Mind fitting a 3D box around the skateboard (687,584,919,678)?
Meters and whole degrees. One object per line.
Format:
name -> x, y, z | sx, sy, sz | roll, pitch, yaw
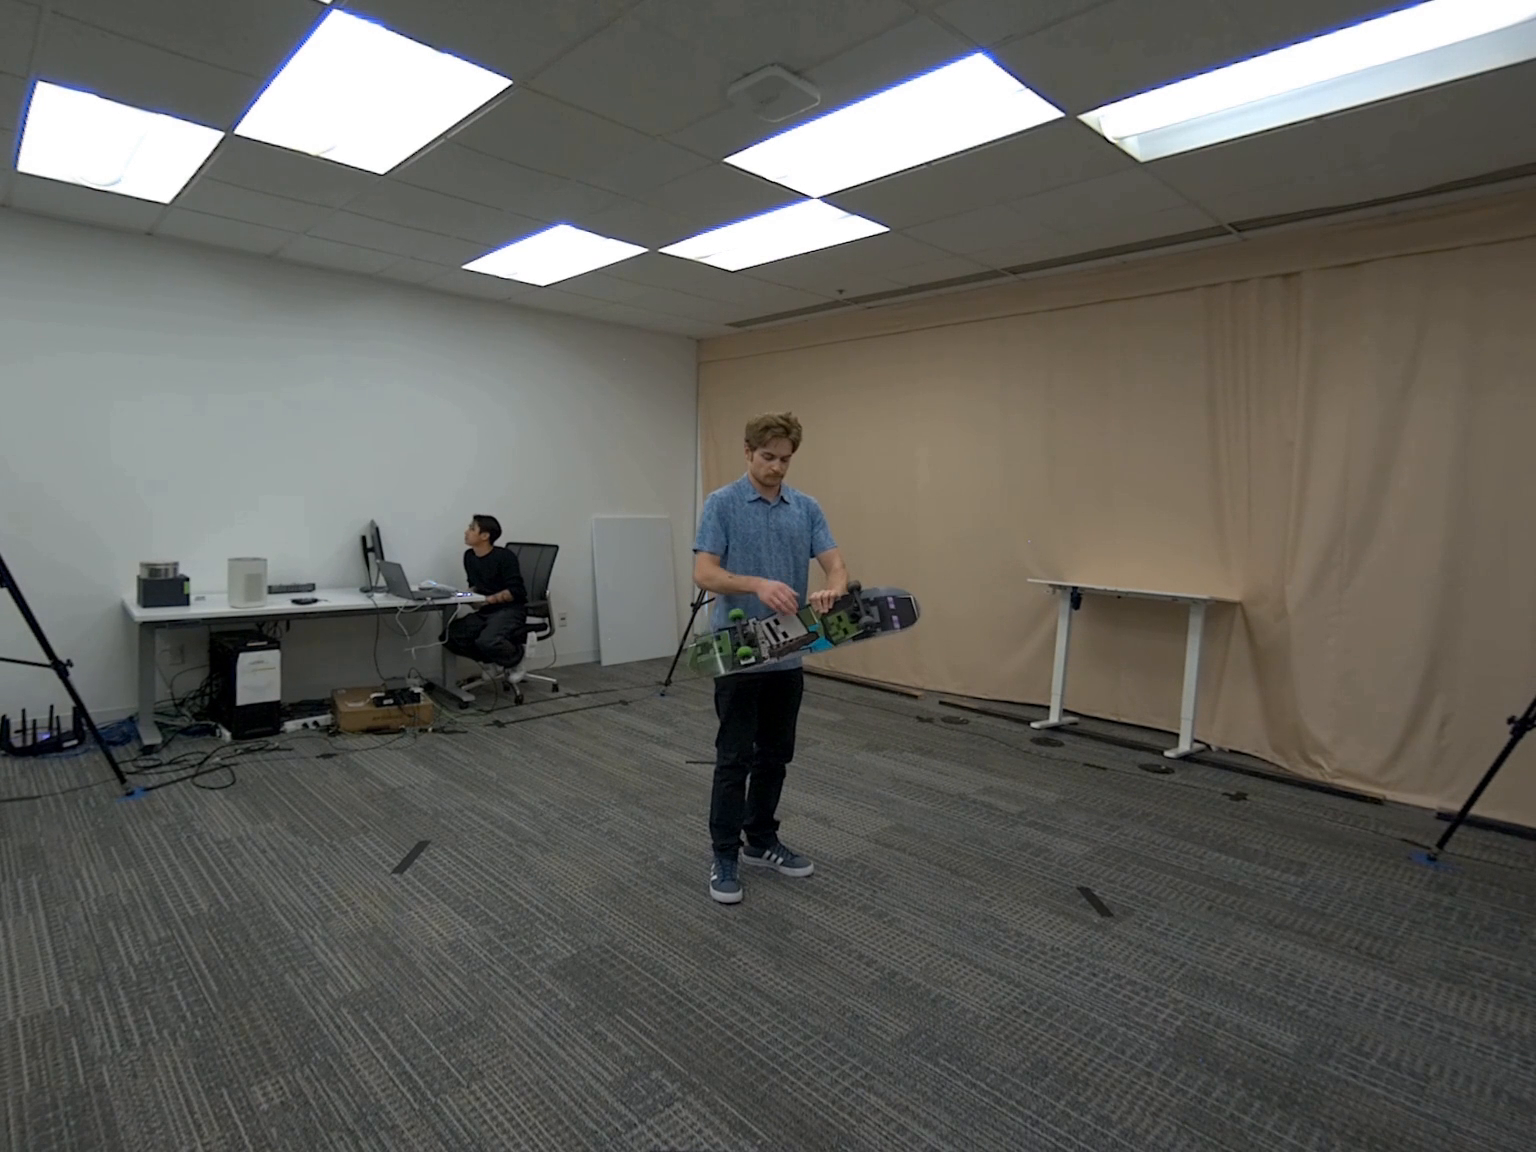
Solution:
skateboard -> 0.111, 0.169, 2.734 | 0.786, 0.199, 0.107 | -15, -41, 1
